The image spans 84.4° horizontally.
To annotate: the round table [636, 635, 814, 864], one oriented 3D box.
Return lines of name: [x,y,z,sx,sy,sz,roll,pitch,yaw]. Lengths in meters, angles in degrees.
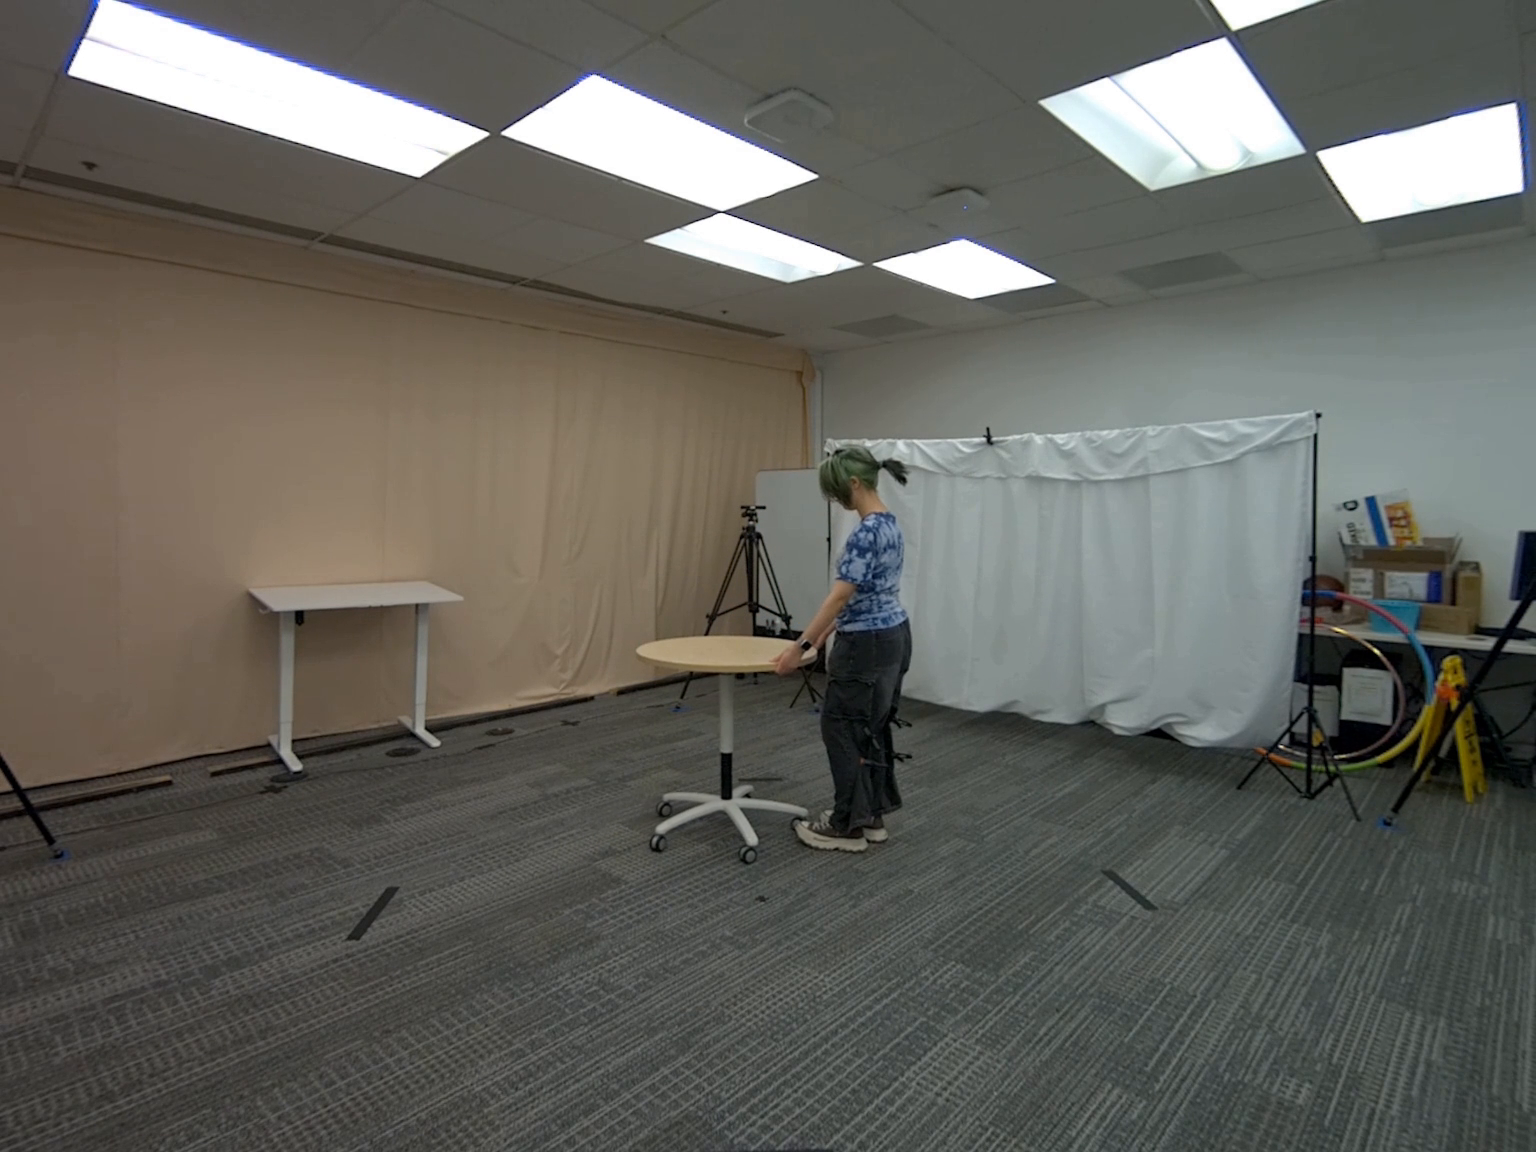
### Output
round table: [-0.185,0.708,3.592,0.763,0.792,0.766,0,3,-2]
